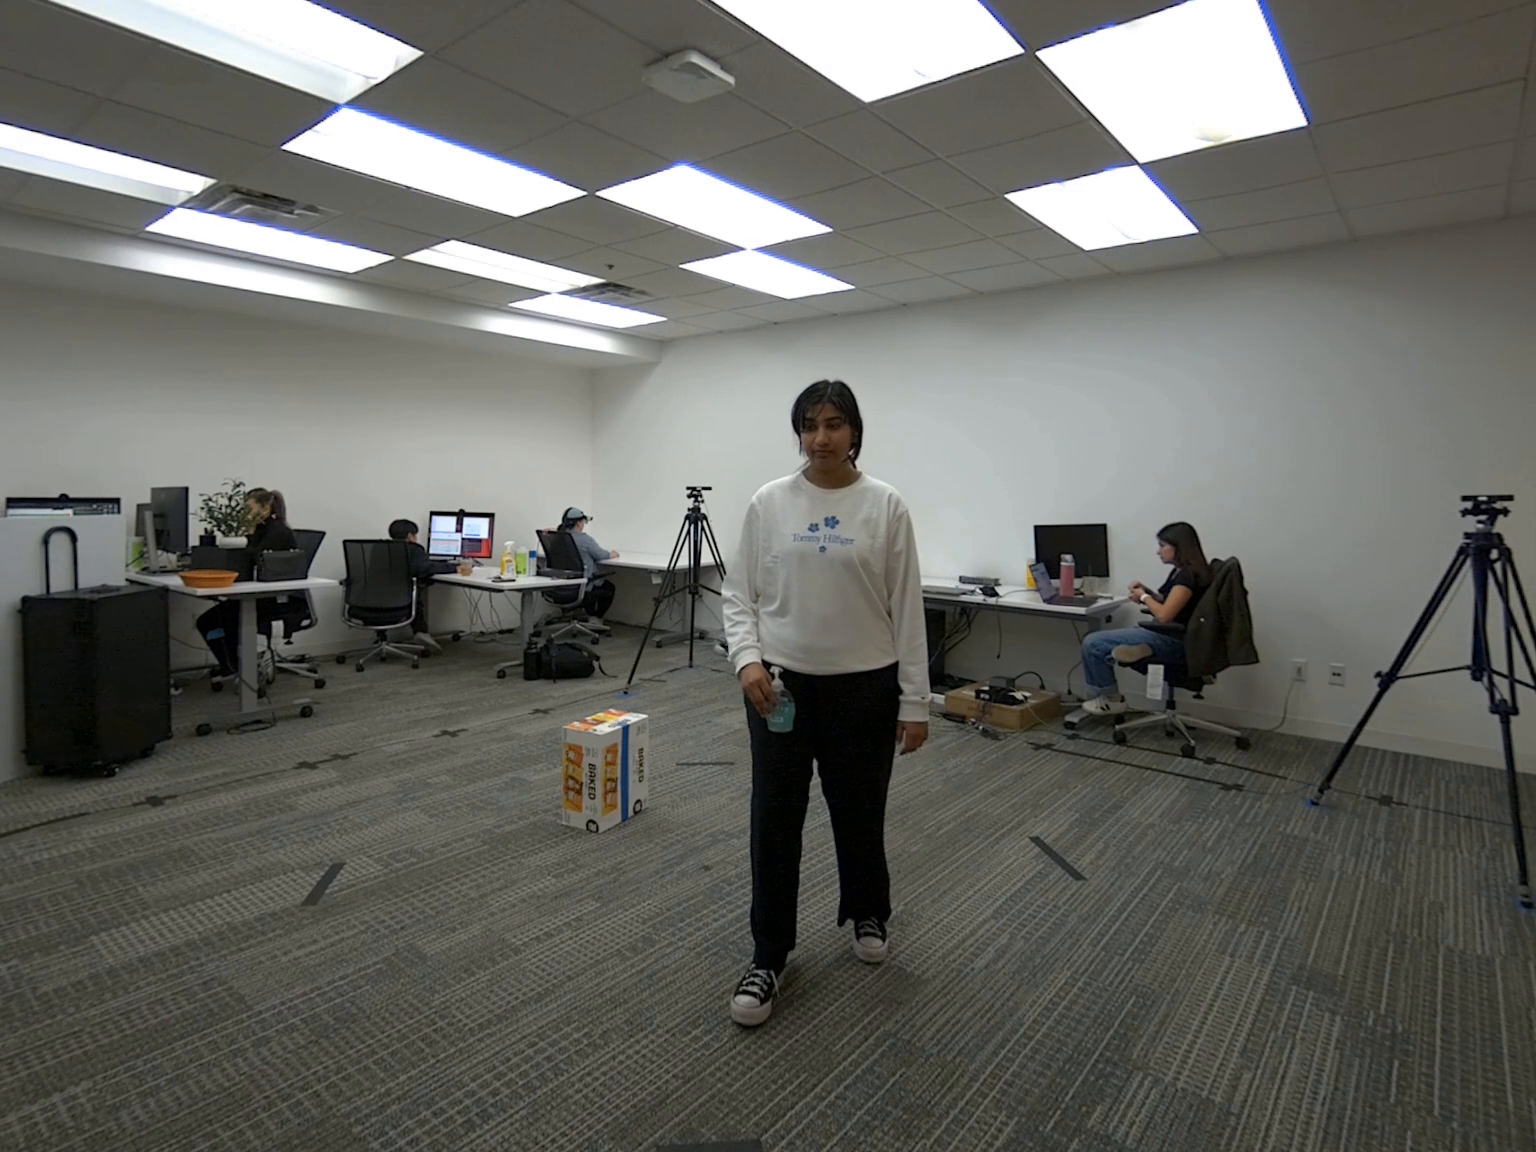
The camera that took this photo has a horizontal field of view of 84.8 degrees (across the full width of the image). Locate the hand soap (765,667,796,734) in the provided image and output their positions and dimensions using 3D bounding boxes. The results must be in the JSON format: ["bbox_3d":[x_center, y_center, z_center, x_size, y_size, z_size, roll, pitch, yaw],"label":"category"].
[{"bbox_3d":[0.018,0.325,2.230,0.086,0.167,0.043,-2,5,15],"label":"hand soap"}]
